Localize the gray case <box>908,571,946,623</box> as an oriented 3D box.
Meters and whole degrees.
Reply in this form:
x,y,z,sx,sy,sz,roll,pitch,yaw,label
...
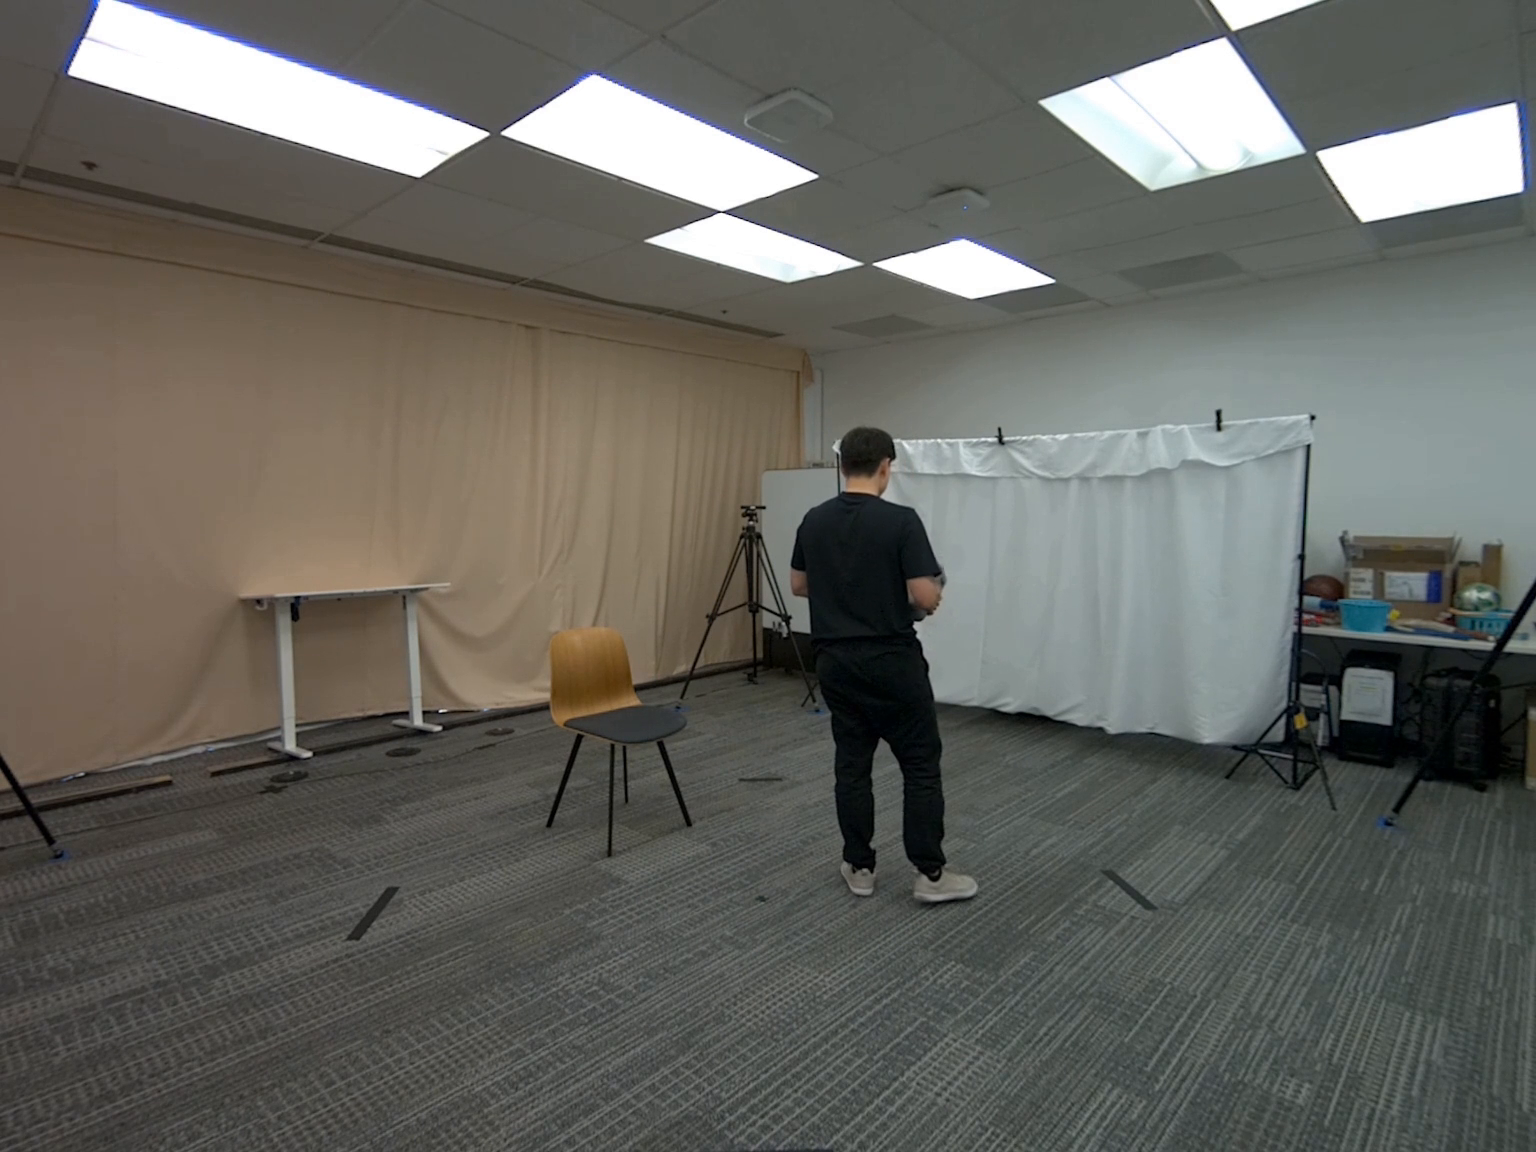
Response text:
x,y,z,sx,sy,sz,roll,pitch,yaw,label
0.543,0.043,3.236,0.266,0.101,0.258,6,43,42,gray case
